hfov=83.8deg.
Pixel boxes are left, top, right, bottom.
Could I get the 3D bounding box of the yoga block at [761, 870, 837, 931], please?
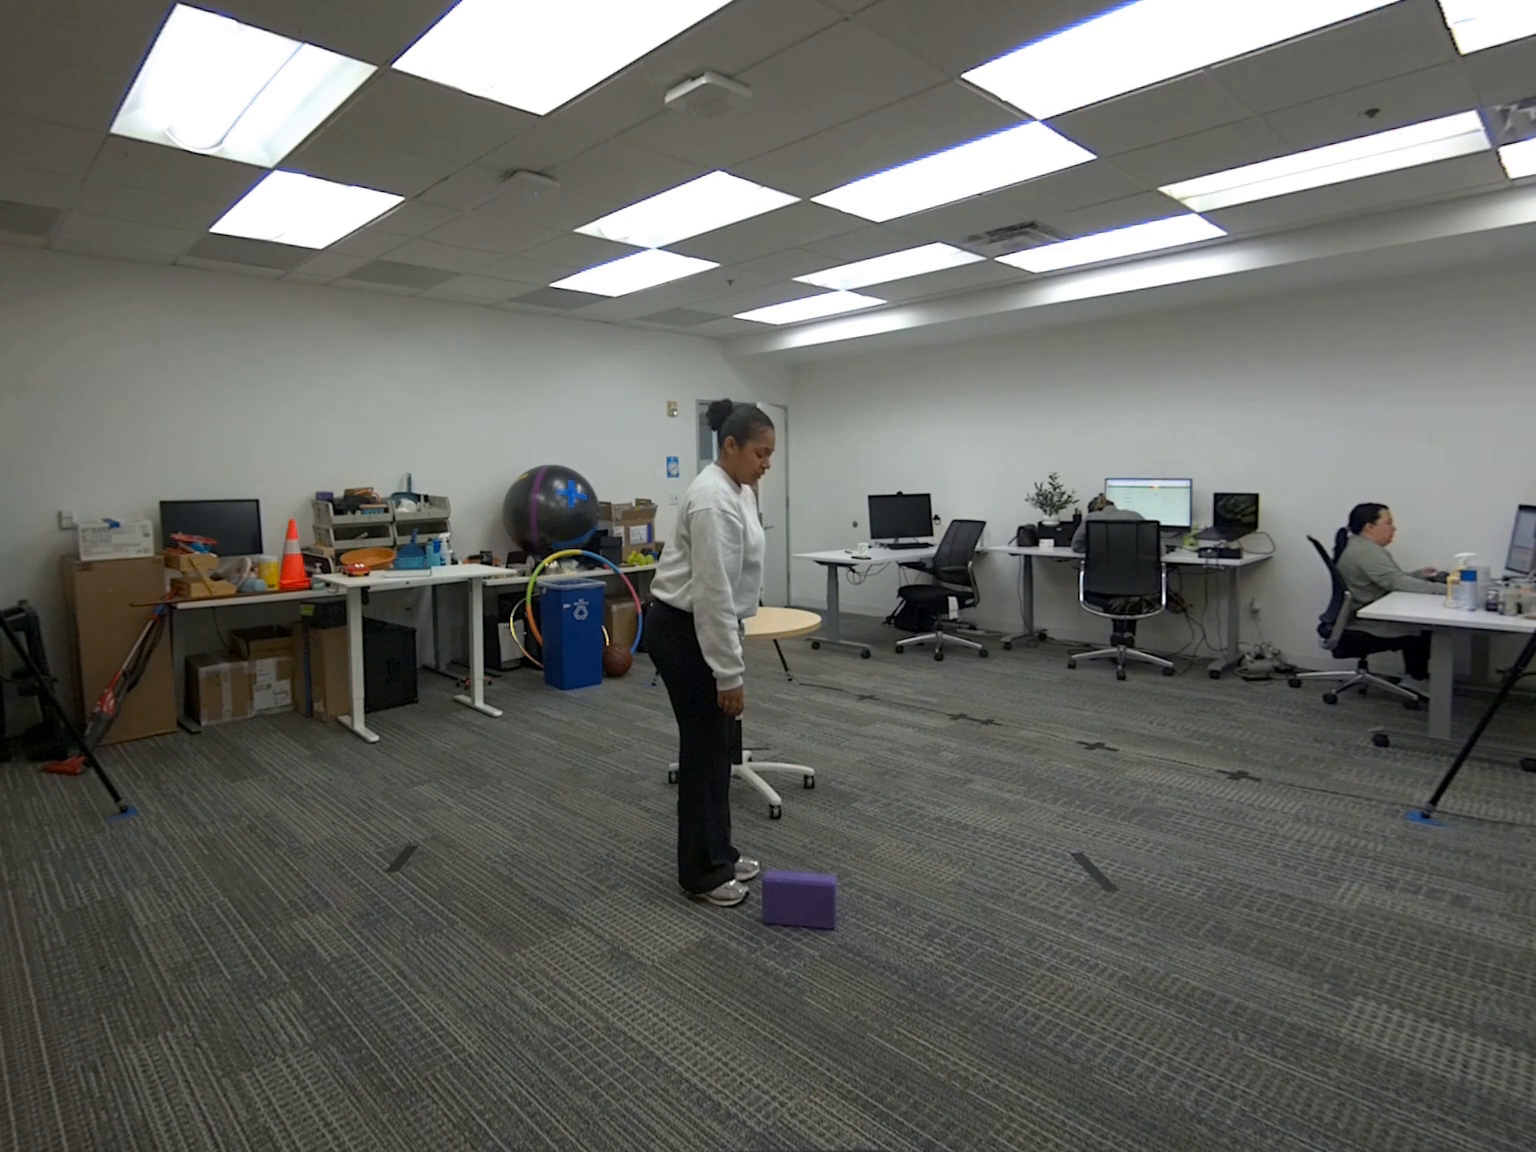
[{"bbox_3d":[0.100,1.006,2.682,0.231,0.148,0.076,2,5,9],"label":"yoga block"}]
